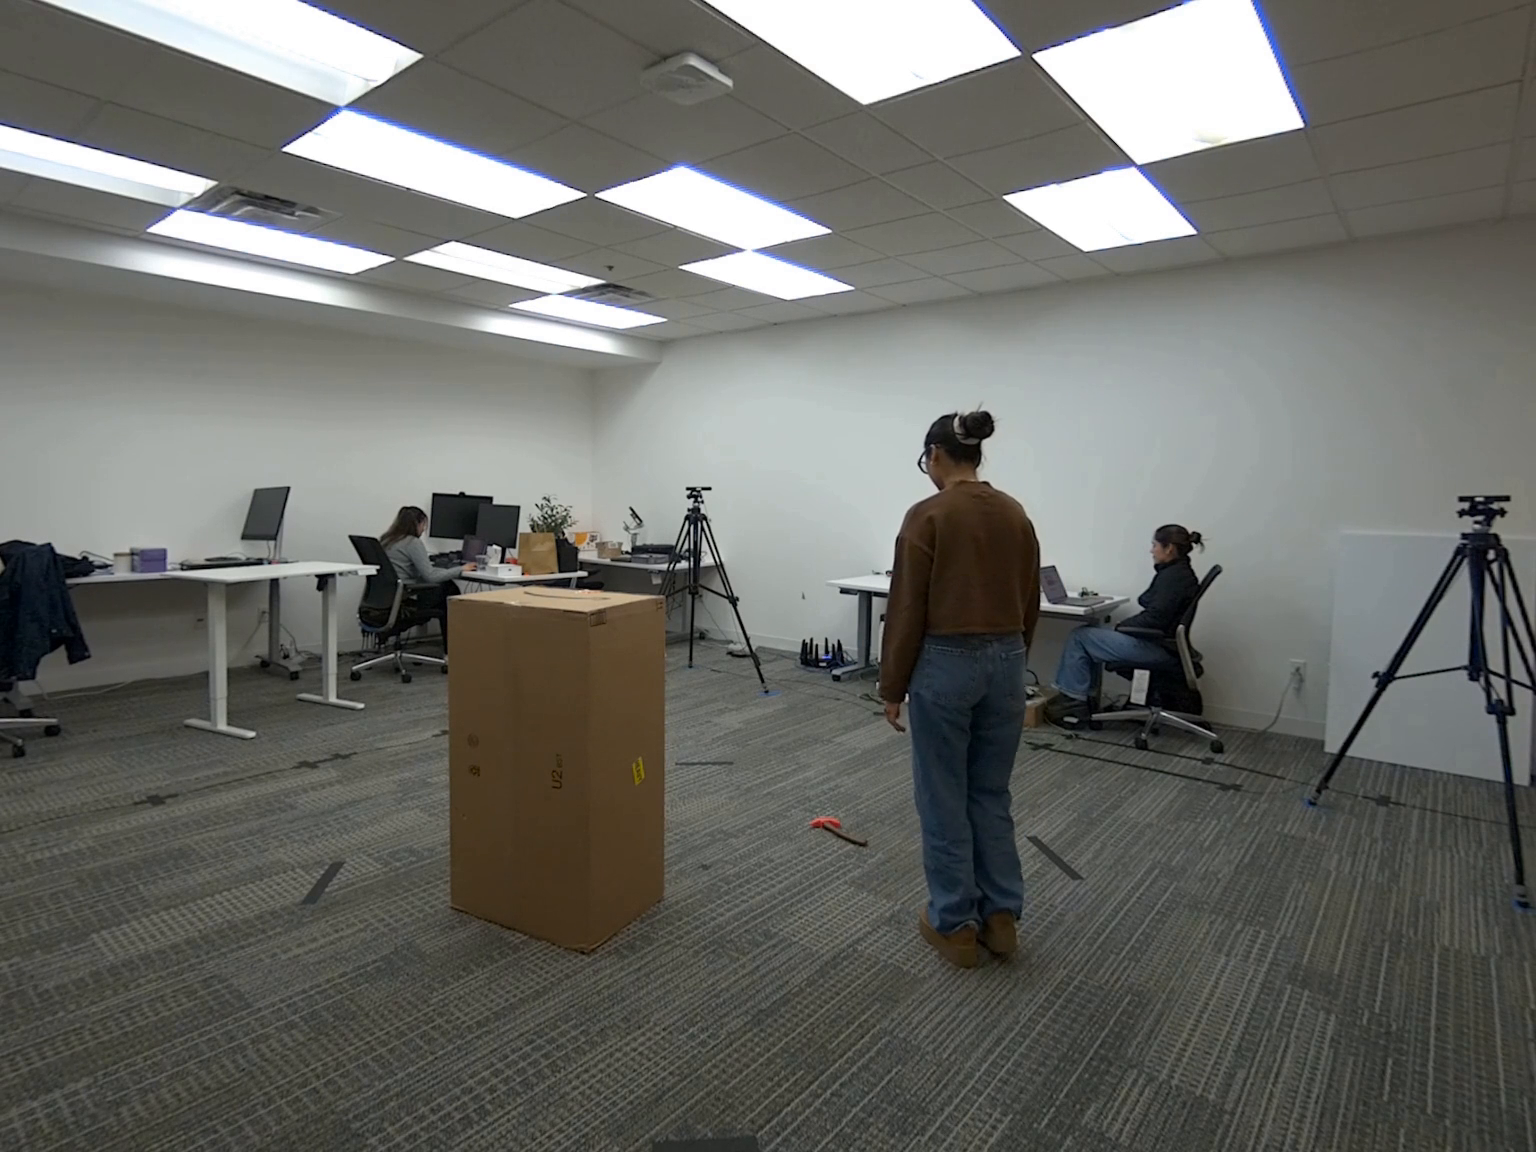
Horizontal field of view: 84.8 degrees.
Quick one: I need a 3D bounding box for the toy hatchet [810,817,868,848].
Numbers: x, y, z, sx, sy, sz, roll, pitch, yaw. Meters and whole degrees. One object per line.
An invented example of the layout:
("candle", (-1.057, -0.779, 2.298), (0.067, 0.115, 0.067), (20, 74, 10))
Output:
("toy hatchet", (0.302, 1.031, 3.461), (0.279, 0.029, 0.127), (8, 7, 40))
